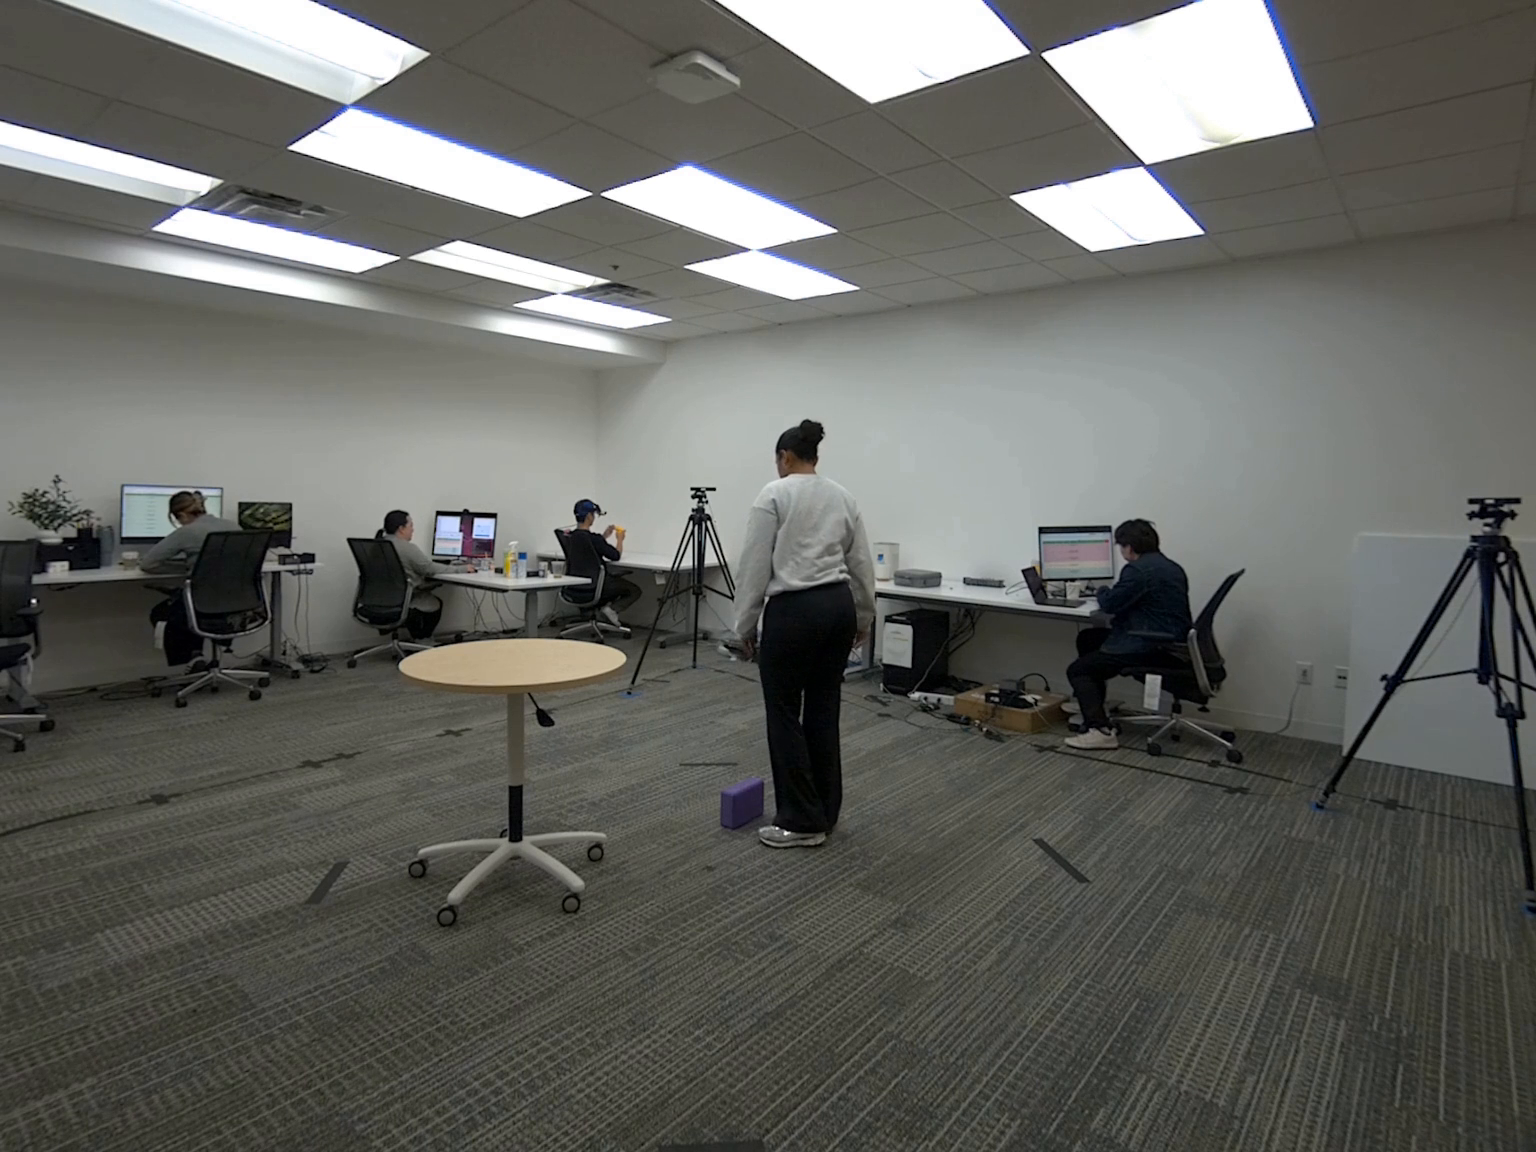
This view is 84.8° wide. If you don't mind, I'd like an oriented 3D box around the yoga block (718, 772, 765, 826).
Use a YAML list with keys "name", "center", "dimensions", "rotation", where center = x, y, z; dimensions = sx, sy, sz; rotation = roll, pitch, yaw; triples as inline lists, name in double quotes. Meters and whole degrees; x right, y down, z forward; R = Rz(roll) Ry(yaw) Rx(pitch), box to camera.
- name: "yoga block"
  center: [-0.111, 0.939, 3.565]
  dimensions: [0.079, 0.149, 0.223]
  rotation: [3, 3, 32]
